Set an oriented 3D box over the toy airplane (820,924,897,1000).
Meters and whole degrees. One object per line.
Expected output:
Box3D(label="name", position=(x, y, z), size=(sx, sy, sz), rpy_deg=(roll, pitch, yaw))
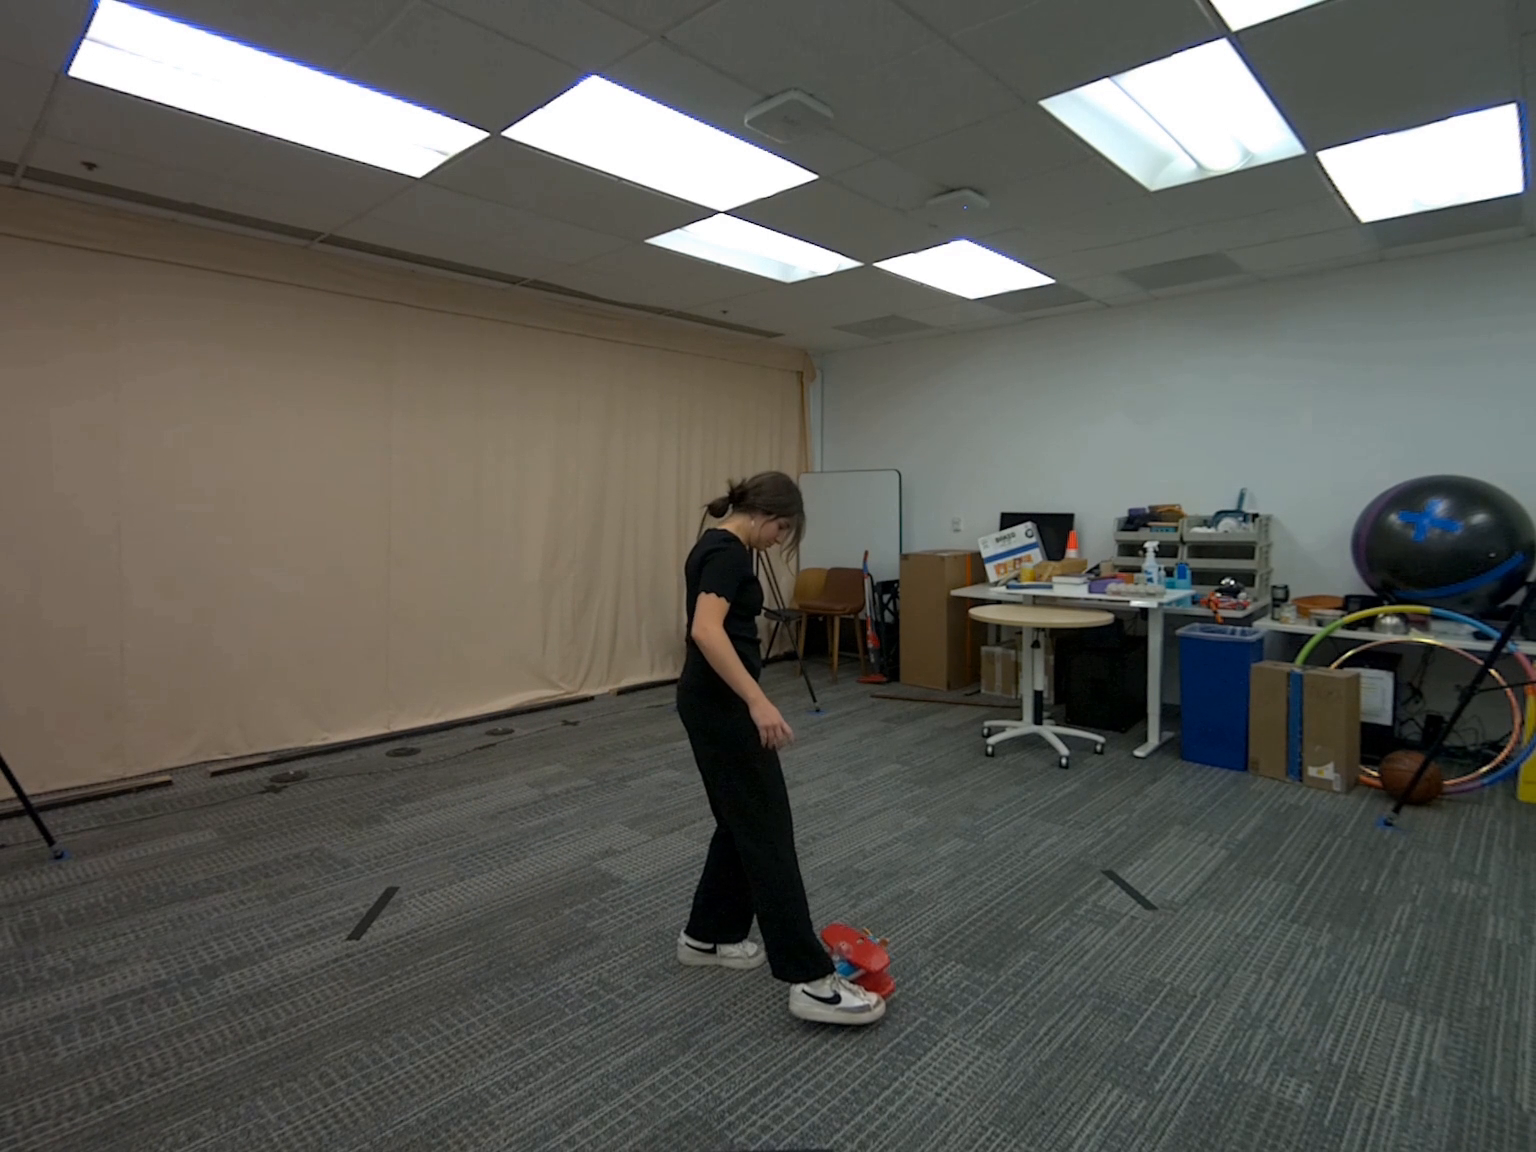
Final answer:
Box3D(label="toy airplane", position=(0.241, 1.124, 2.363), size=(0.258, 0.156, 0.252), rpy_deg=(2, 4, 30))
